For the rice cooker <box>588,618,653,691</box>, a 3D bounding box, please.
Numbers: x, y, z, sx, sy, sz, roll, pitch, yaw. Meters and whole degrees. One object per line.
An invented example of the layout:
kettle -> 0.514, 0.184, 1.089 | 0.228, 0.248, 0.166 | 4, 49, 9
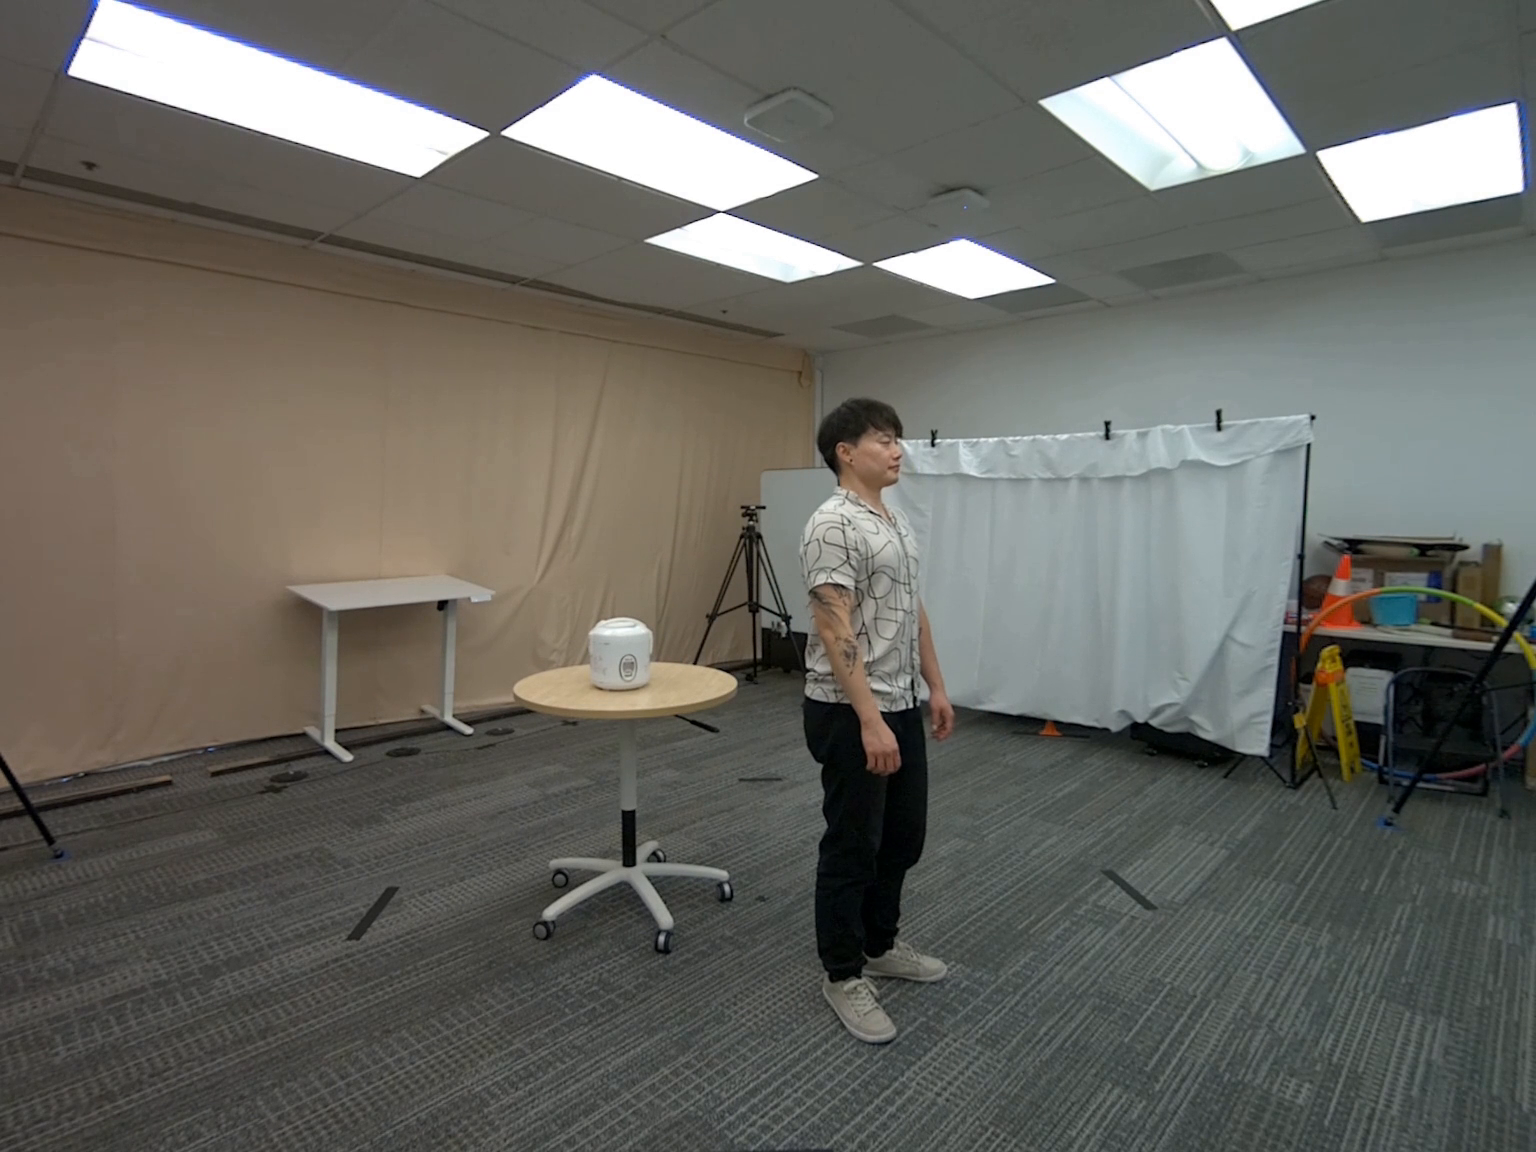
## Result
rice cooker -> -0.498, 0.258, 2.865 | 0.216, 0.232, 0.222 | -3, 4, -22
